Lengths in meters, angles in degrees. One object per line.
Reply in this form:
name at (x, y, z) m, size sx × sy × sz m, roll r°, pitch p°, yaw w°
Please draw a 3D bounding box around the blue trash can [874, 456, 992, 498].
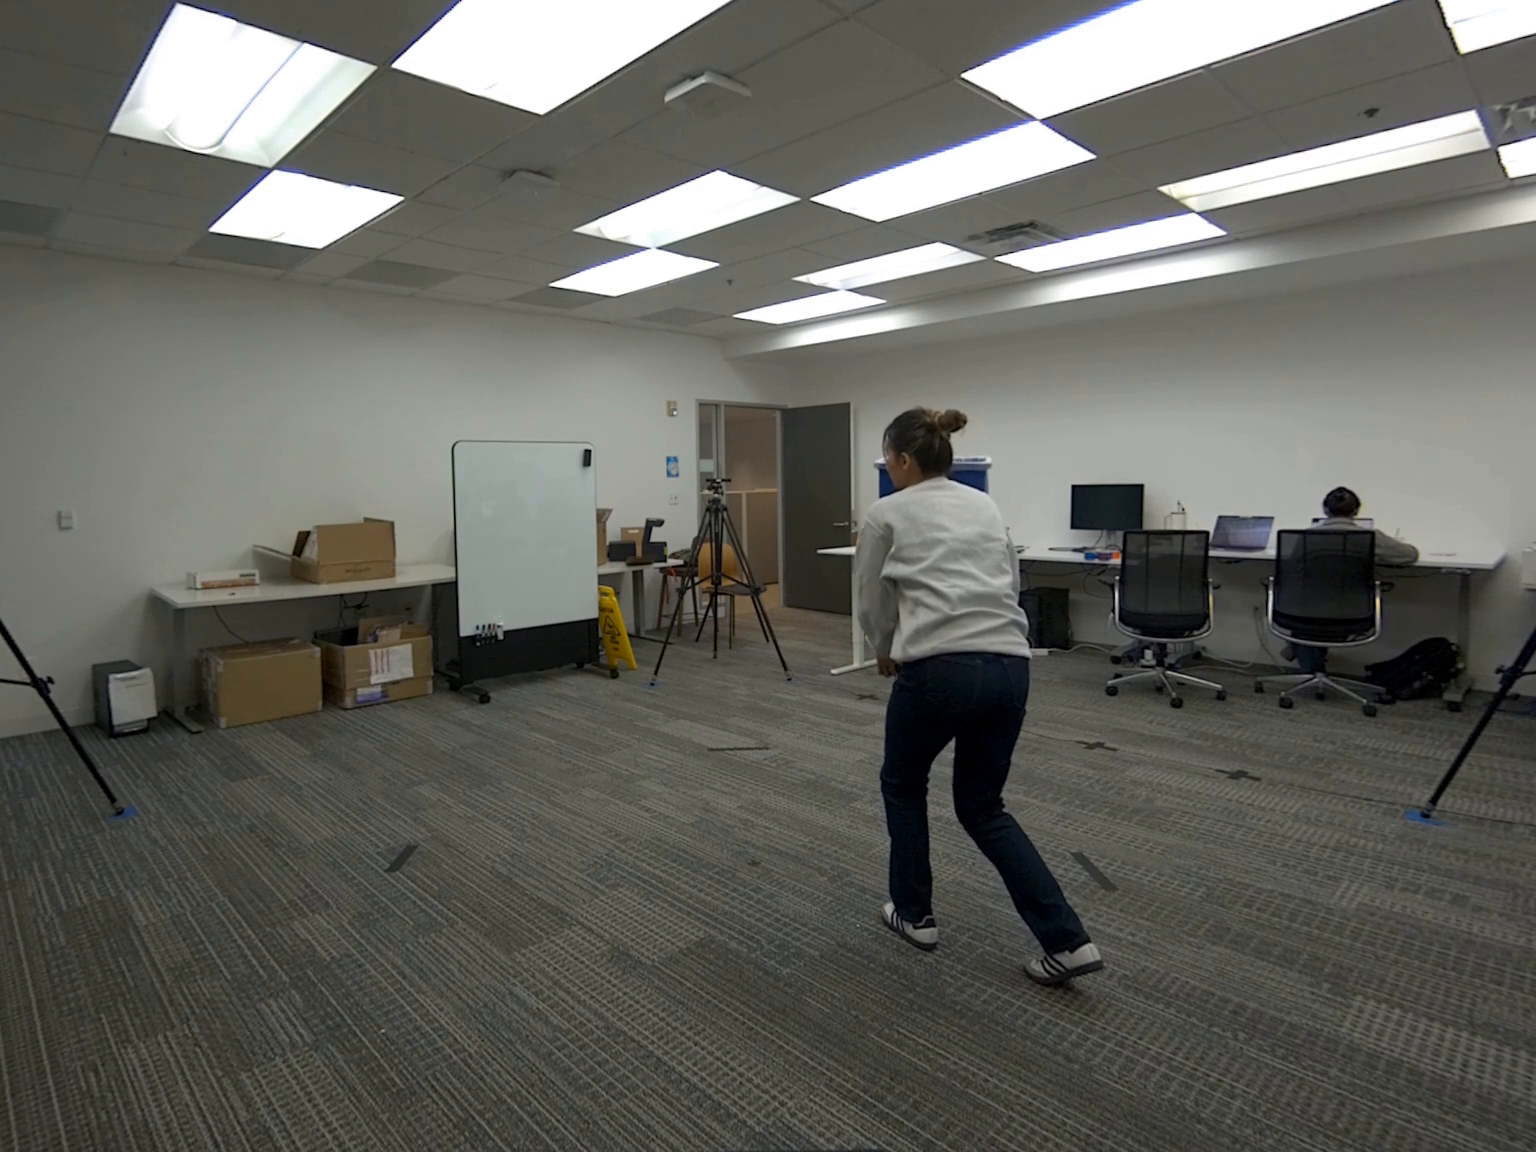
blue trash can at (0.571, -0.041, 2.917) m, size 0.384 × 0.709 × 0.371 m, roll 1°, pitch 7°, yaw 15°
